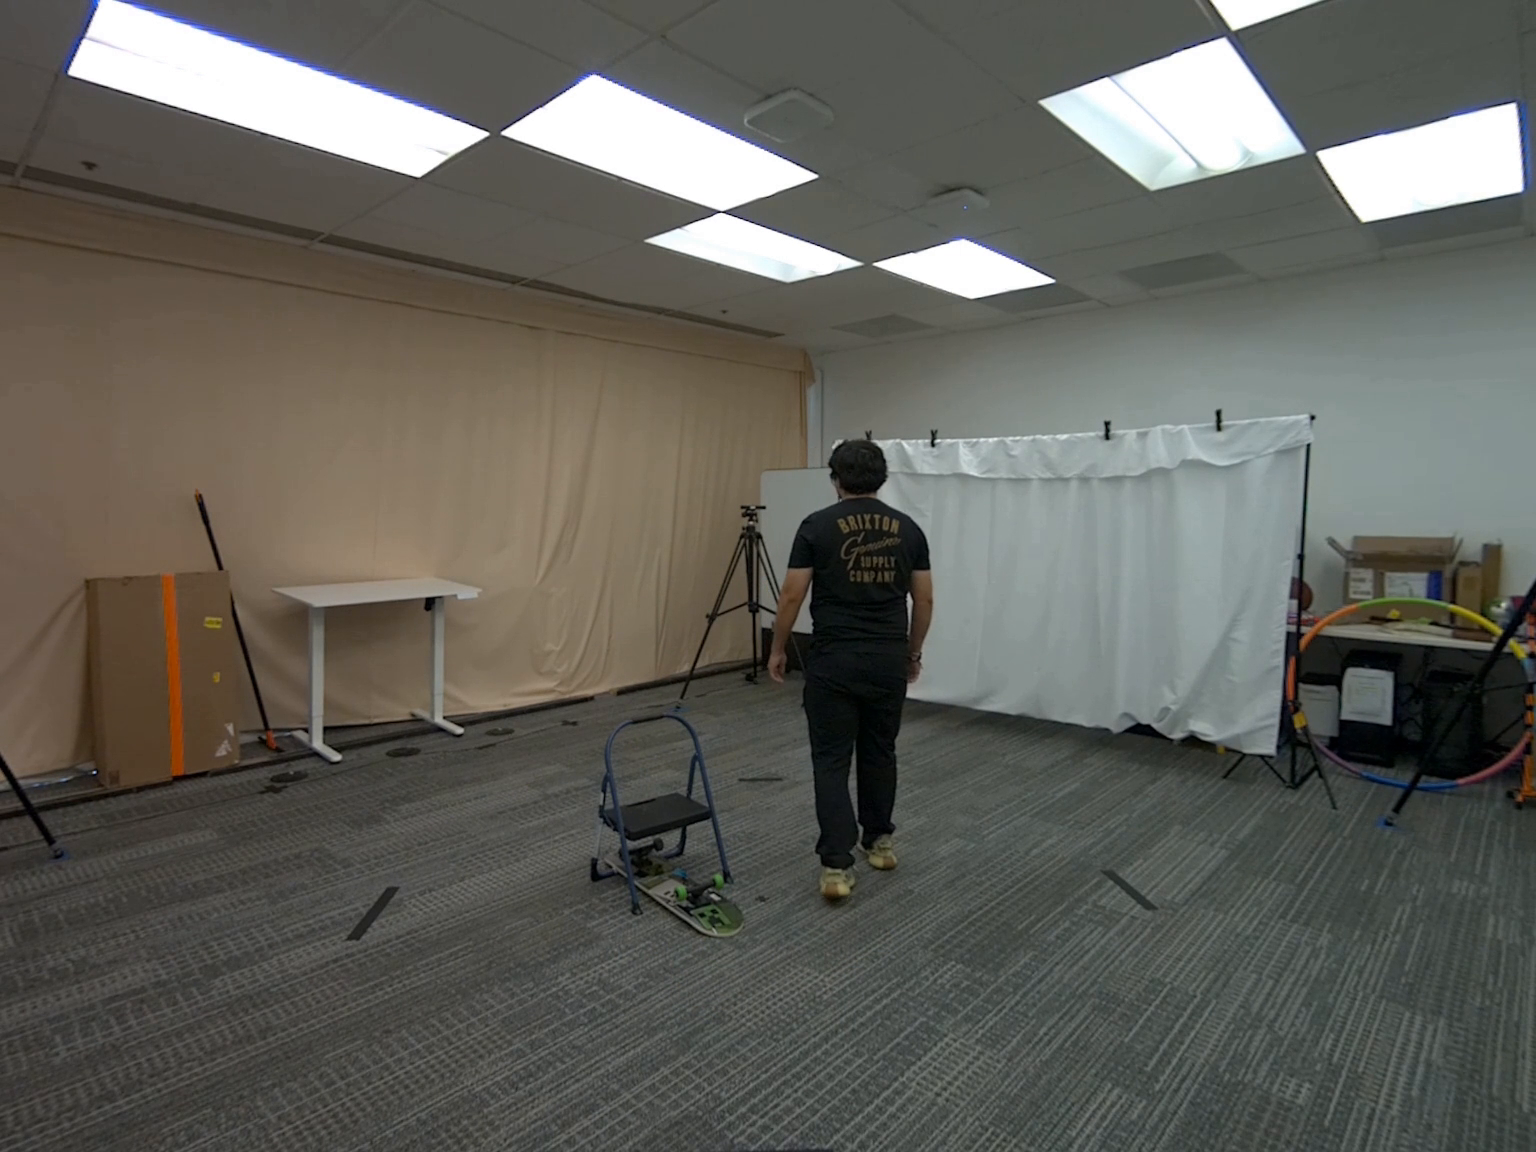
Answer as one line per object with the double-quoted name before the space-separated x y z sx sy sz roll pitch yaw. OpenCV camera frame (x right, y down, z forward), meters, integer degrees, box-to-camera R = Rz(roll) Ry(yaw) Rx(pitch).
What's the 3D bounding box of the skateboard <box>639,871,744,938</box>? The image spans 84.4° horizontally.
"skateboard" -0.362 1.091 3.042 0.187 0.110 0.811 -2 6 -39
